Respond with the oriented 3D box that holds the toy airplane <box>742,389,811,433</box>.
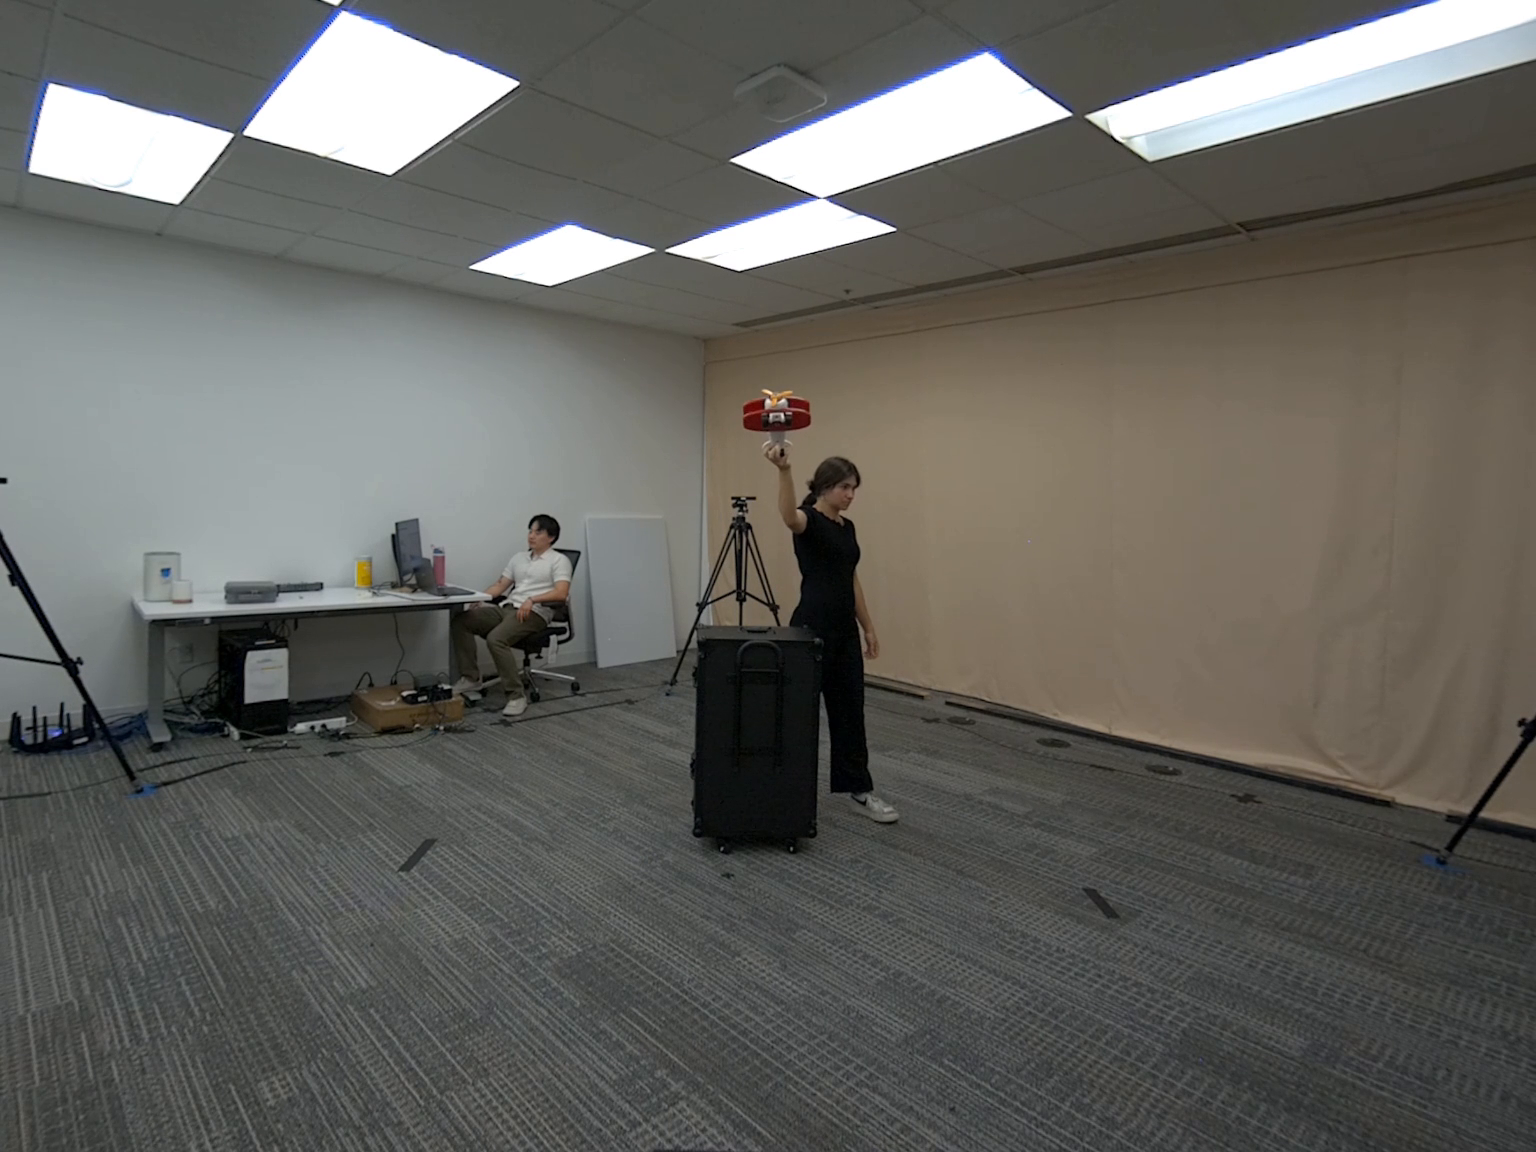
[{"bbox_3d":[0.012,-0.574,3.204,0.246,0.159,0.259,14,-35,-21],"label":"toy airplane"}]
